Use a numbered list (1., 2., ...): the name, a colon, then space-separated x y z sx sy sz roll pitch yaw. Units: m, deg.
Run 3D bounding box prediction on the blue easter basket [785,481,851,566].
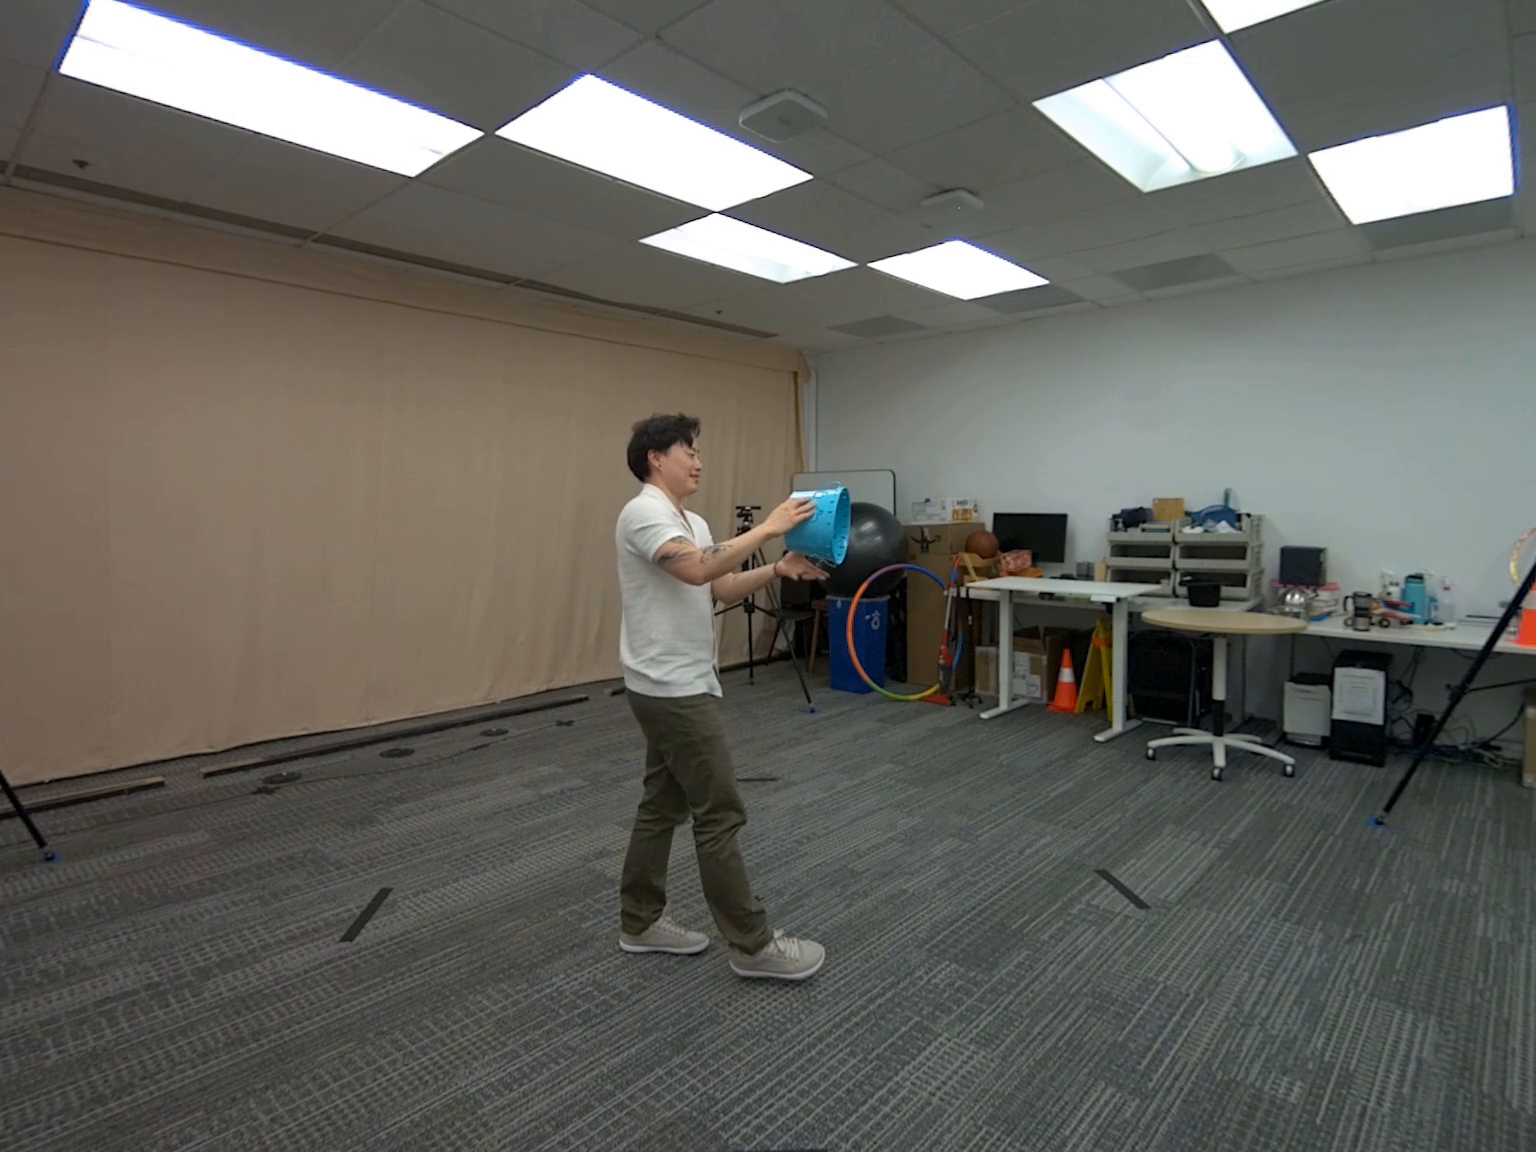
1. blue easter basket: 0.157 -0.150 2.491 0.159 0.243 0.239 6 5 17
